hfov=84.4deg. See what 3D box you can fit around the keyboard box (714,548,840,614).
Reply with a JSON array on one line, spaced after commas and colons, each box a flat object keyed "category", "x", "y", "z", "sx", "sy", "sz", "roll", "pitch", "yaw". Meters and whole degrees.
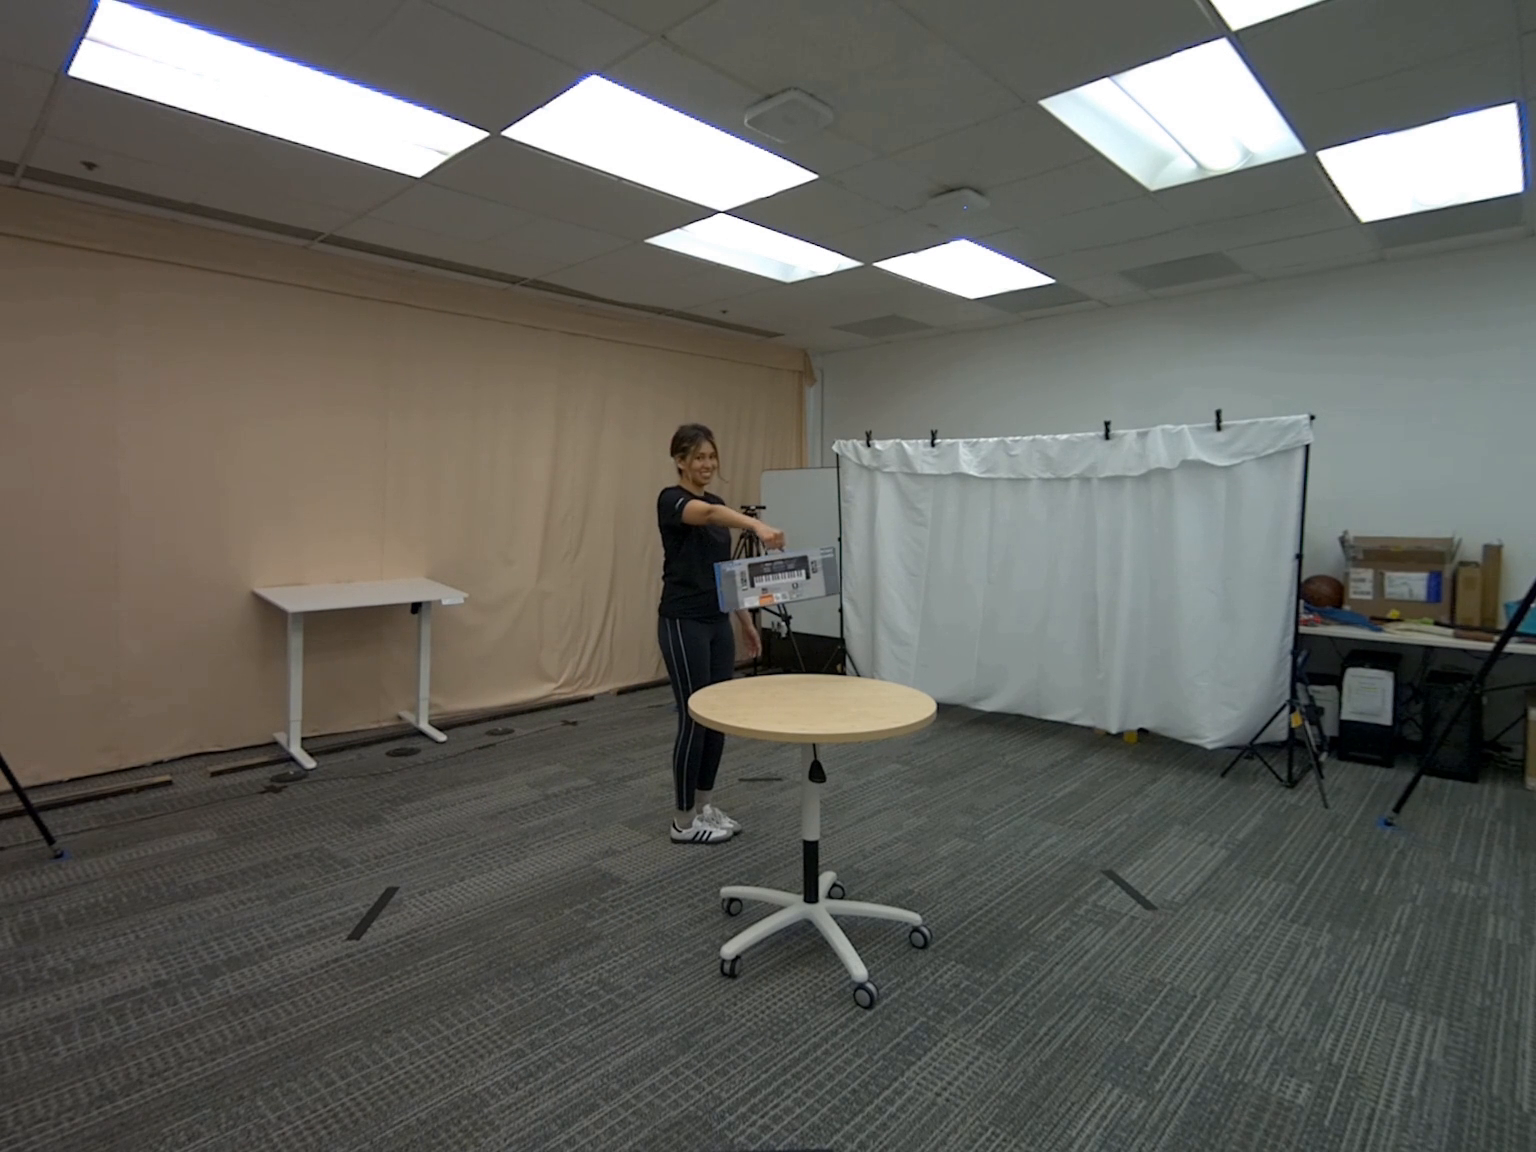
[{"category": "keyboard box", "x": 0.037, "y": 0.012, "z": 2.979, "sx": 0.430, "sy": 0.176, "sz": 0.060, "roll": -8, "pitch": 2, "yaw": -15}]
